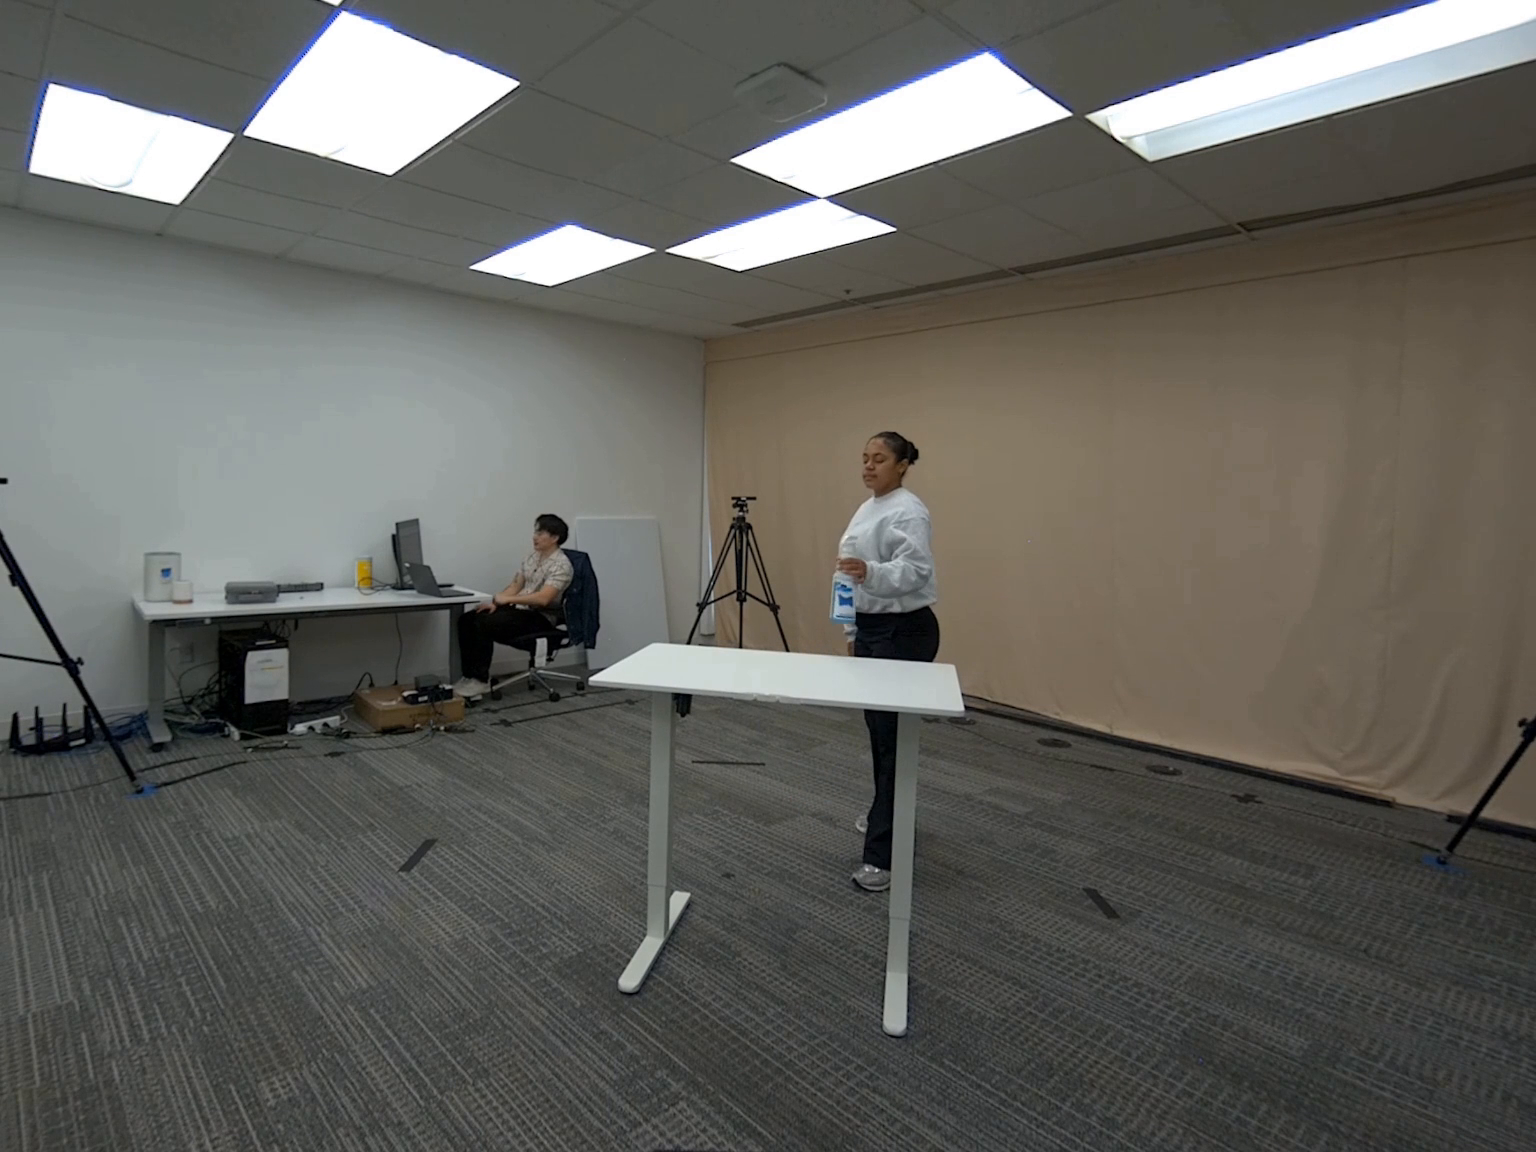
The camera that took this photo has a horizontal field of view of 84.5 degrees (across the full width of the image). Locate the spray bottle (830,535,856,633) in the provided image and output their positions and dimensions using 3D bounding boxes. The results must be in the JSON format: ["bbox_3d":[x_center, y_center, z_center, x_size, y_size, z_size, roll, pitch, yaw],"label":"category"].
[{"bbox_3d":[0.257,0.027,2.833,0.088,0.298,0.089,6,-2,-29],"label":"spray bottle"}]
